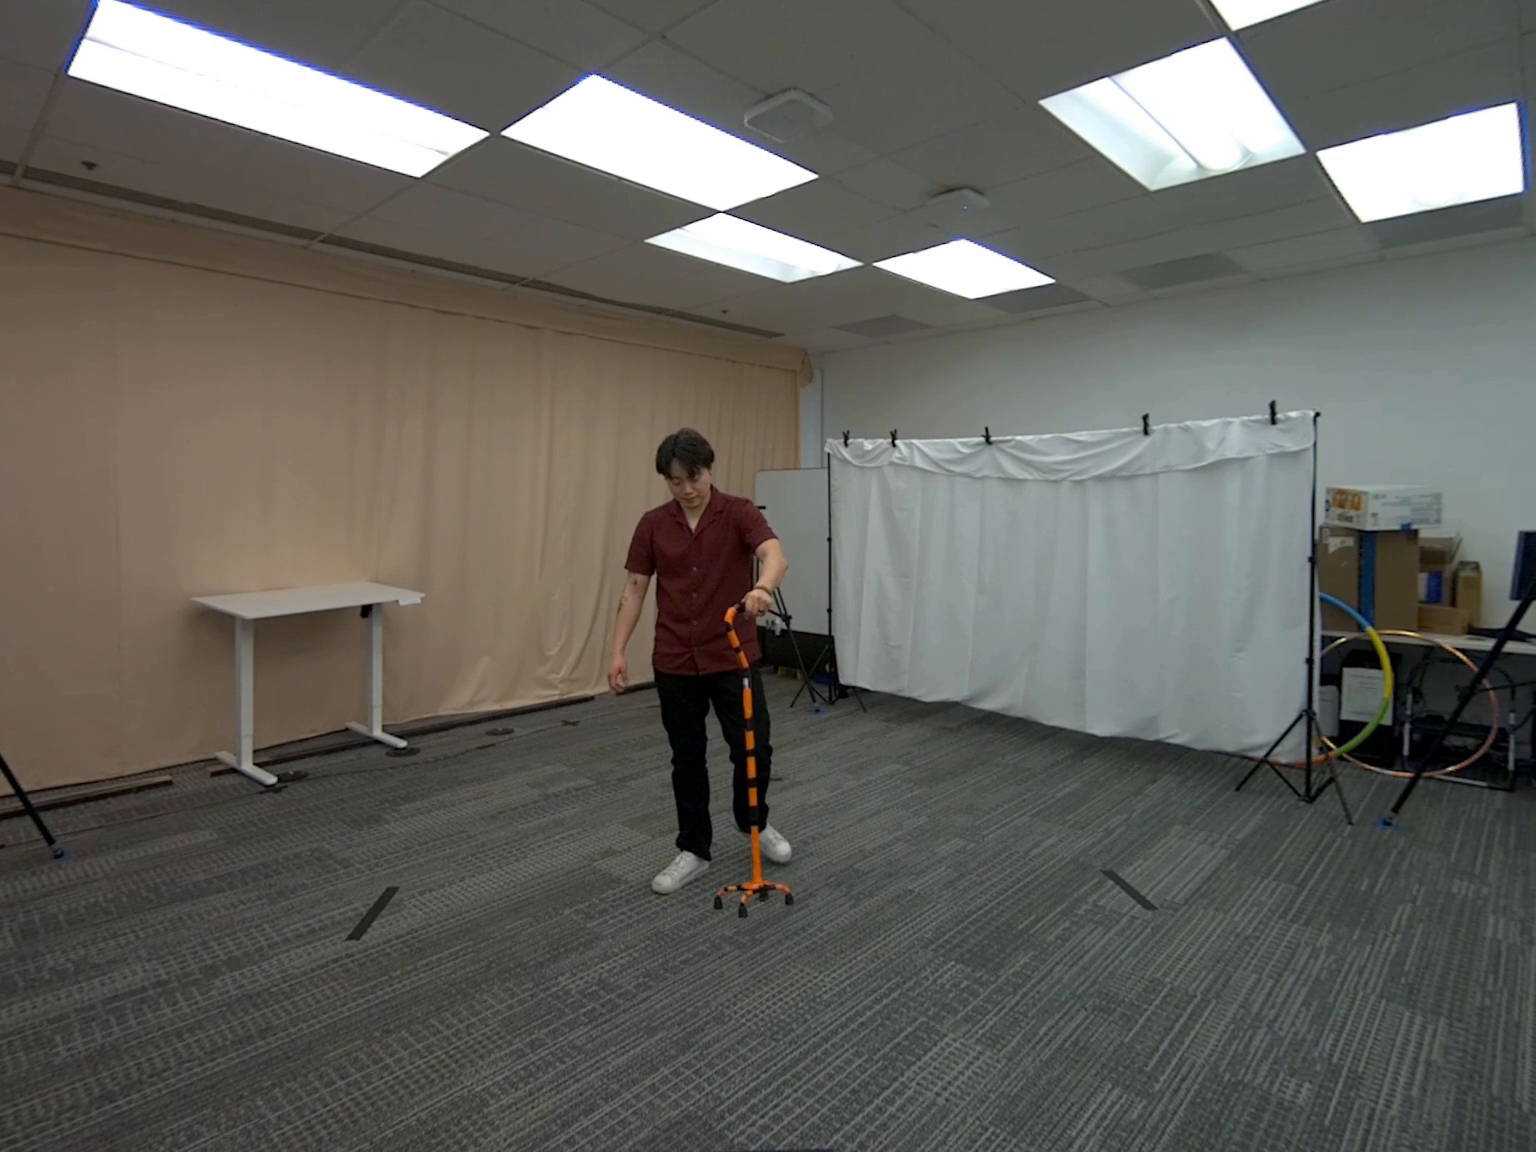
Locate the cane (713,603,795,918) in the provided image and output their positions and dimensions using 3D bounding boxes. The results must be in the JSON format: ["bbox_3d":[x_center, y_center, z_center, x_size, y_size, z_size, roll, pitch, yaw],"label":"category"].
[{"bbox_3d":[-0.058,0.544,2.586,0.200,0.912,0.155,2,-9,-36],"label":"cane"}]
